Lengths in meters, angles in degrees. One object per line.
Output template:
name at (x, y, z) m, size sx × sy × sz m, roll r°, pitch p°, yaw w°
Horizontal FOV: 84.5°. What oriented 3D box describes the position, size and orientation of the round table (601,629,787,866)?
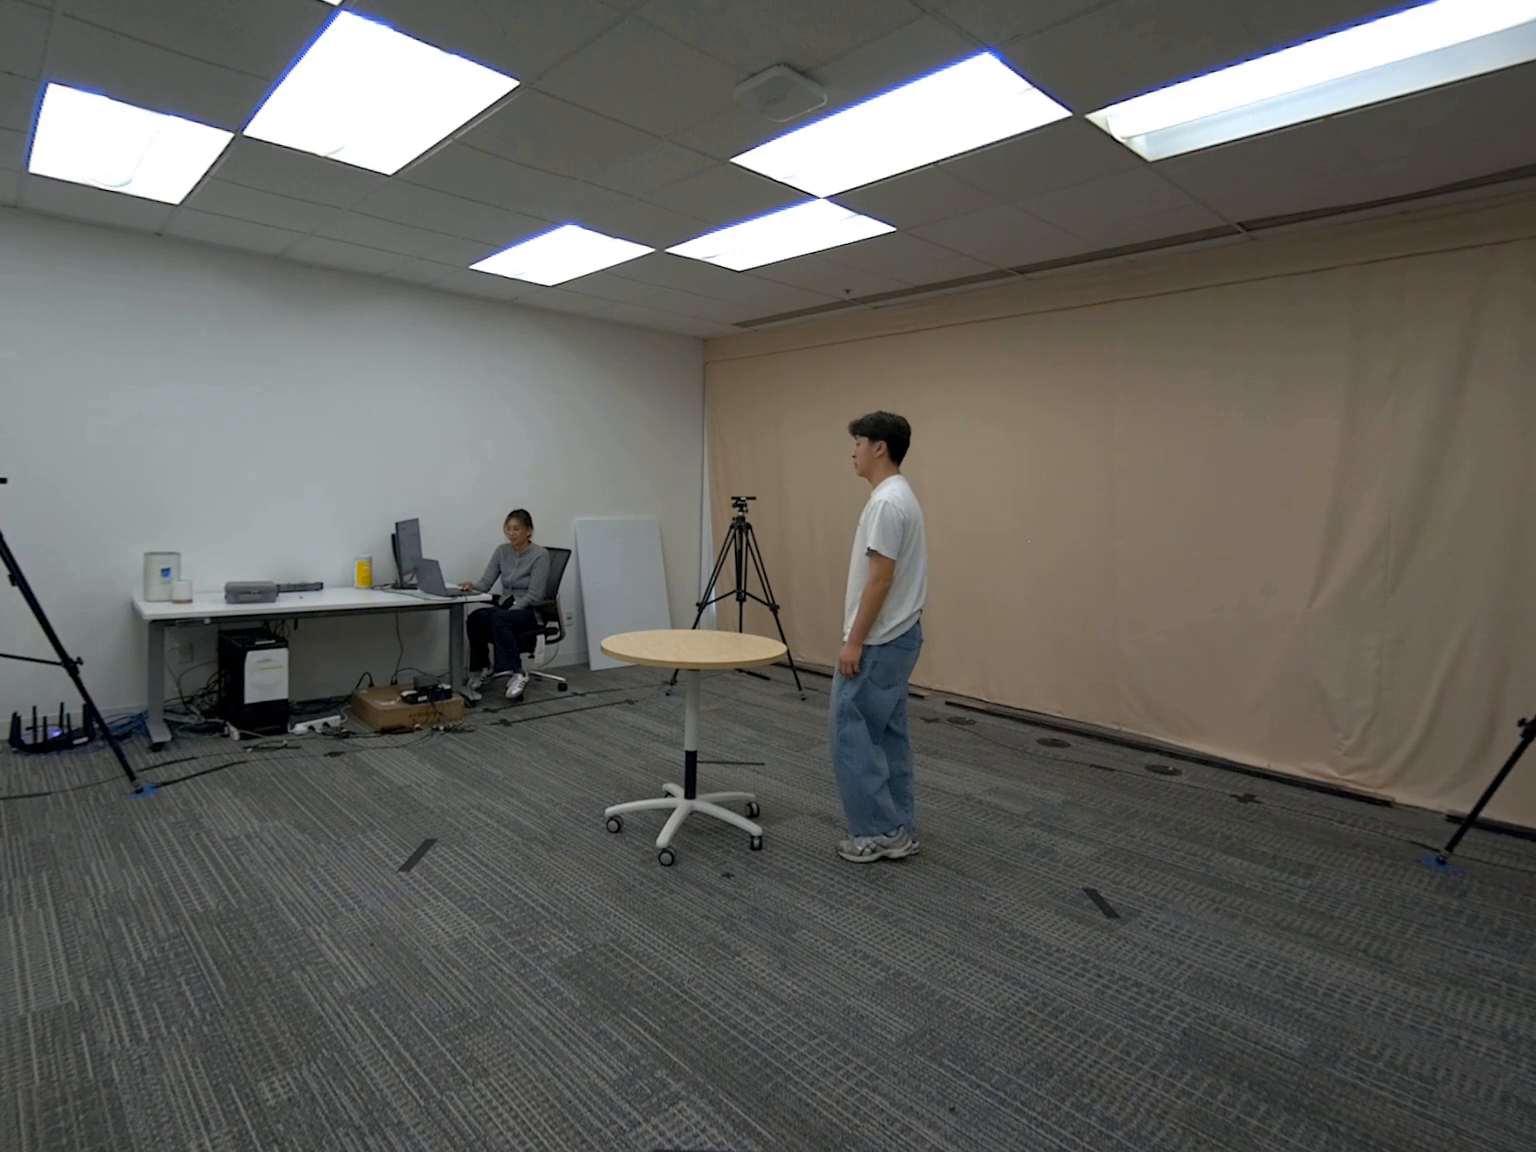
round table at (-0.327, 0.670, 3.476) m, size 0.784 × 0.784 × 0.788 m, roll 2°, pitch 4°, yaw -1°
